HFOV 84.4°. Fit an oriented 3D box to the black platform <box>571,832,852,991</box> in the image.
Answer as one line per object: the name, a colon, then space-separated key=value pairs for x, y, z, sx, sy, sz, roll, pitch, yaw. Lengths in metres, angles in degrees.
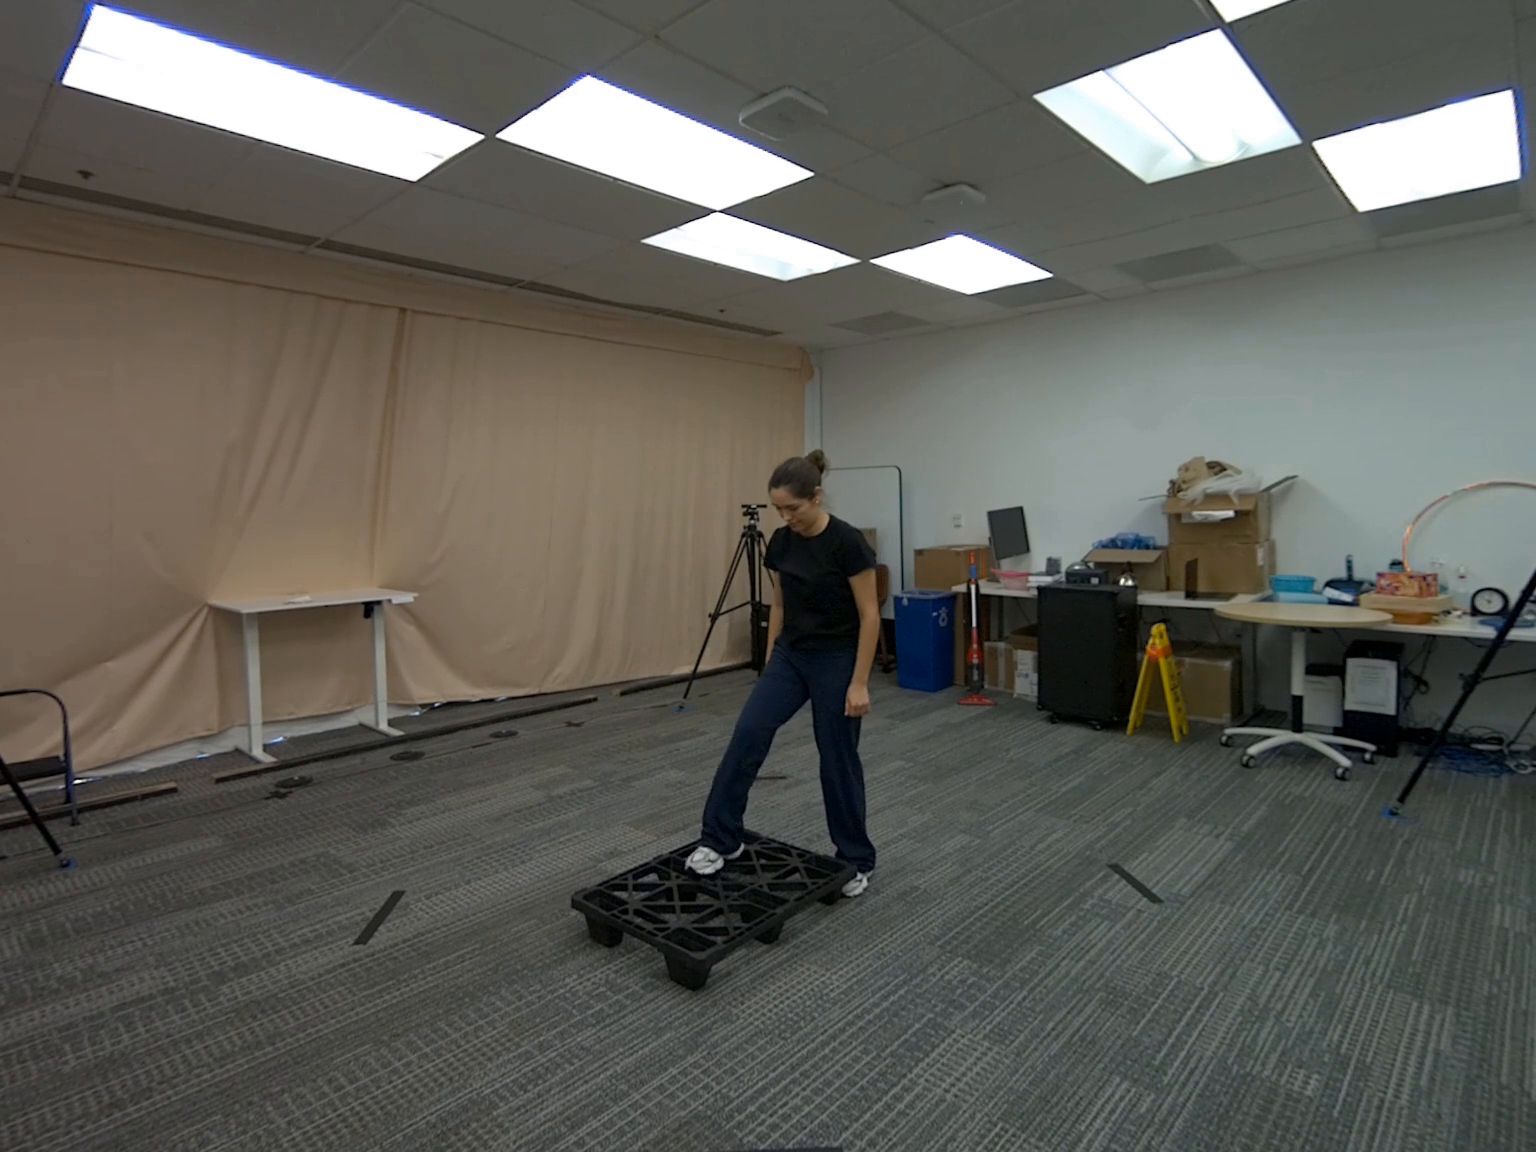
black platform: x=-0.160 y=1.089 z=2.834 sx=0.625 sy=0.143 sz=0.781 roll=3 pitch=6 yaw=41
